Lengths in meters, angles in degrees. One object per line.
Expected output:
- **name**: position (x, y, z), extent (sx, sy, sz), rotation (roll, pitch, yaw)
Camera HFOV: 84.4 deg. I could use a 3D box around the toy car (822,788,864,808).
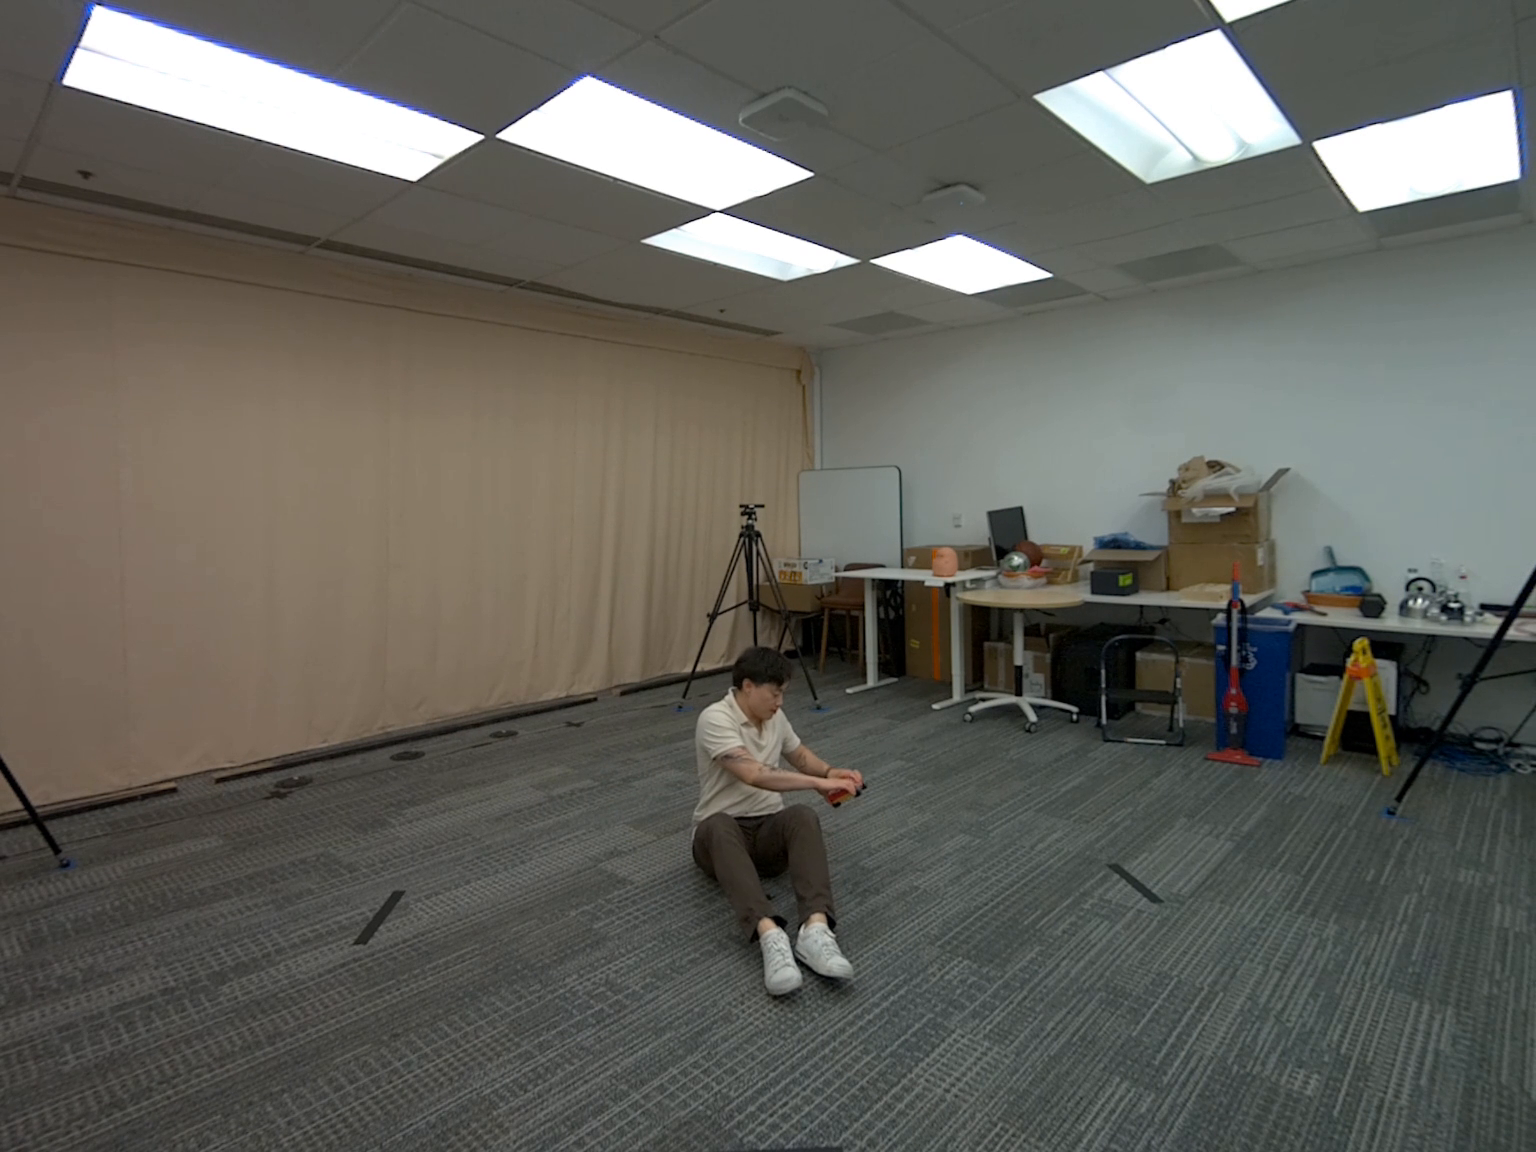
- **toy car**: position (0.289, 0.819, 3.172), extent (0.131, 0.085, 0.247), rotation (-29, -23, 14)
